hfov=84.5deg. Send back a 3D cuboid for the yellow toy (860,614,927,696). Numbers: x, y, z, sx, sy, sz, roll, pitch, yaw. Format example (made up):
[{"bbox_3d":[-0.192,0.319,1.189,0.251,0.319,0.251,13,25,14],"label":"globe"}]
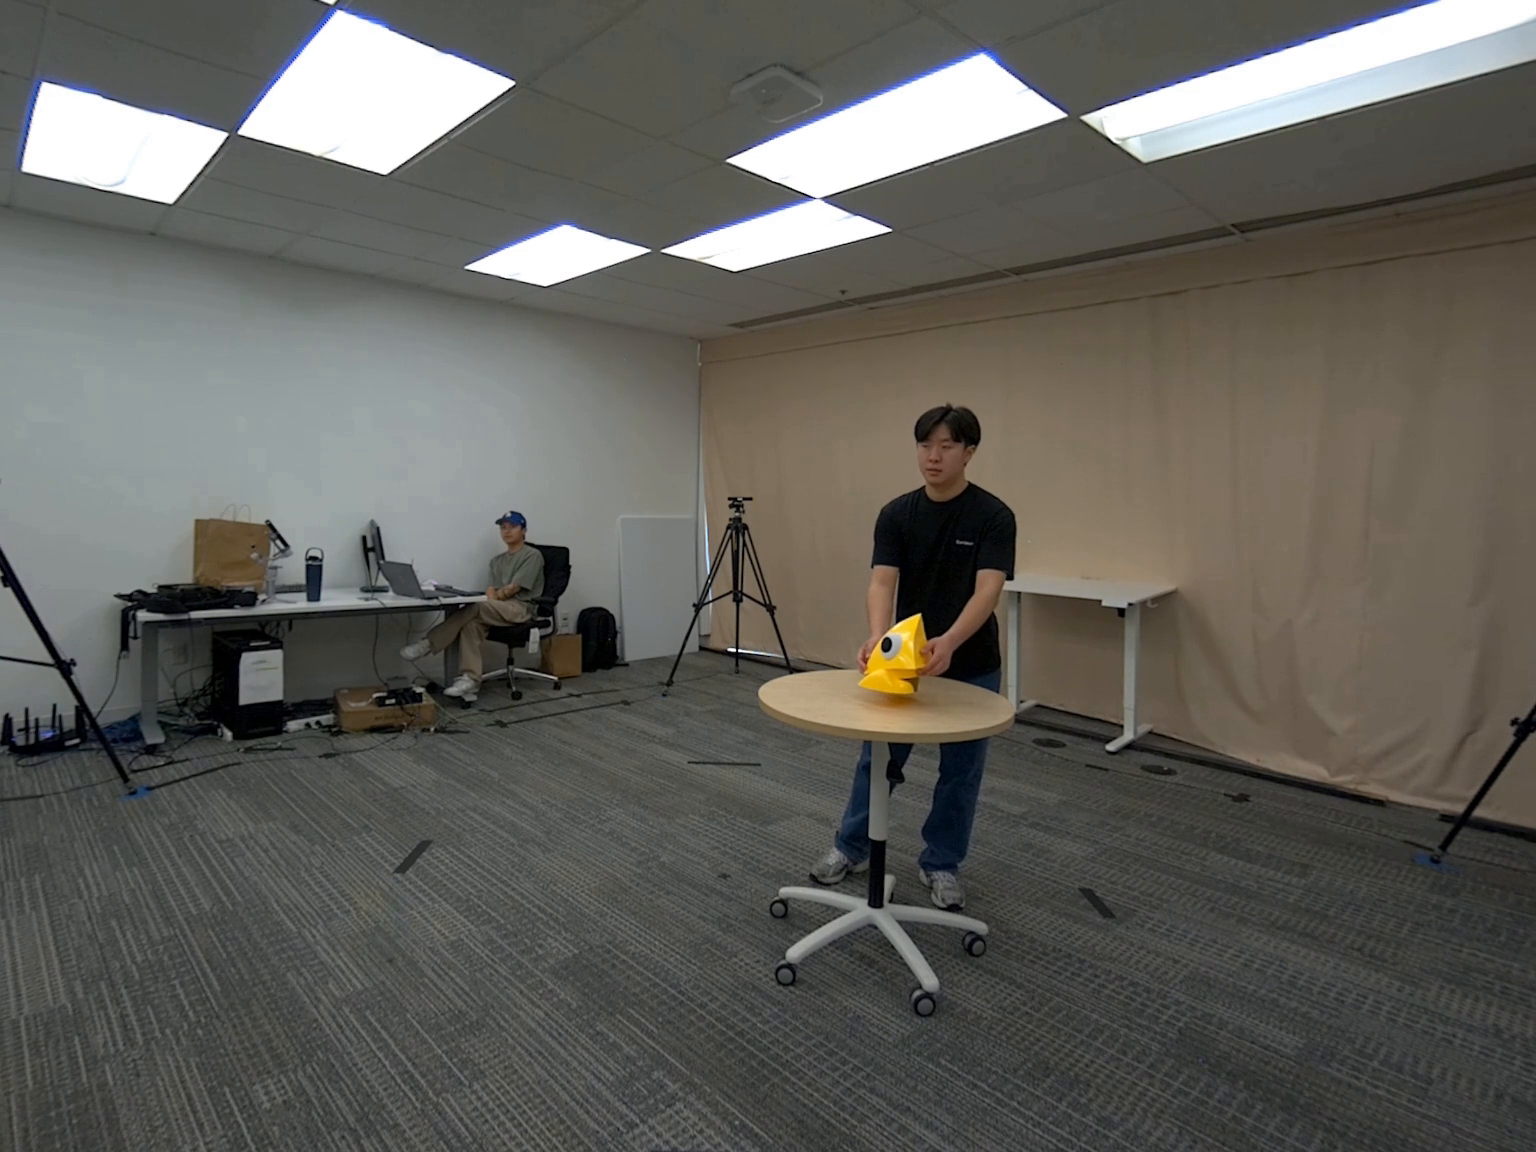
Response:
[{"bbox_3d":[0.386,0.226,2.509,0.197,0.230,0.200,6,2,28],"label":"yellow toy"}]
